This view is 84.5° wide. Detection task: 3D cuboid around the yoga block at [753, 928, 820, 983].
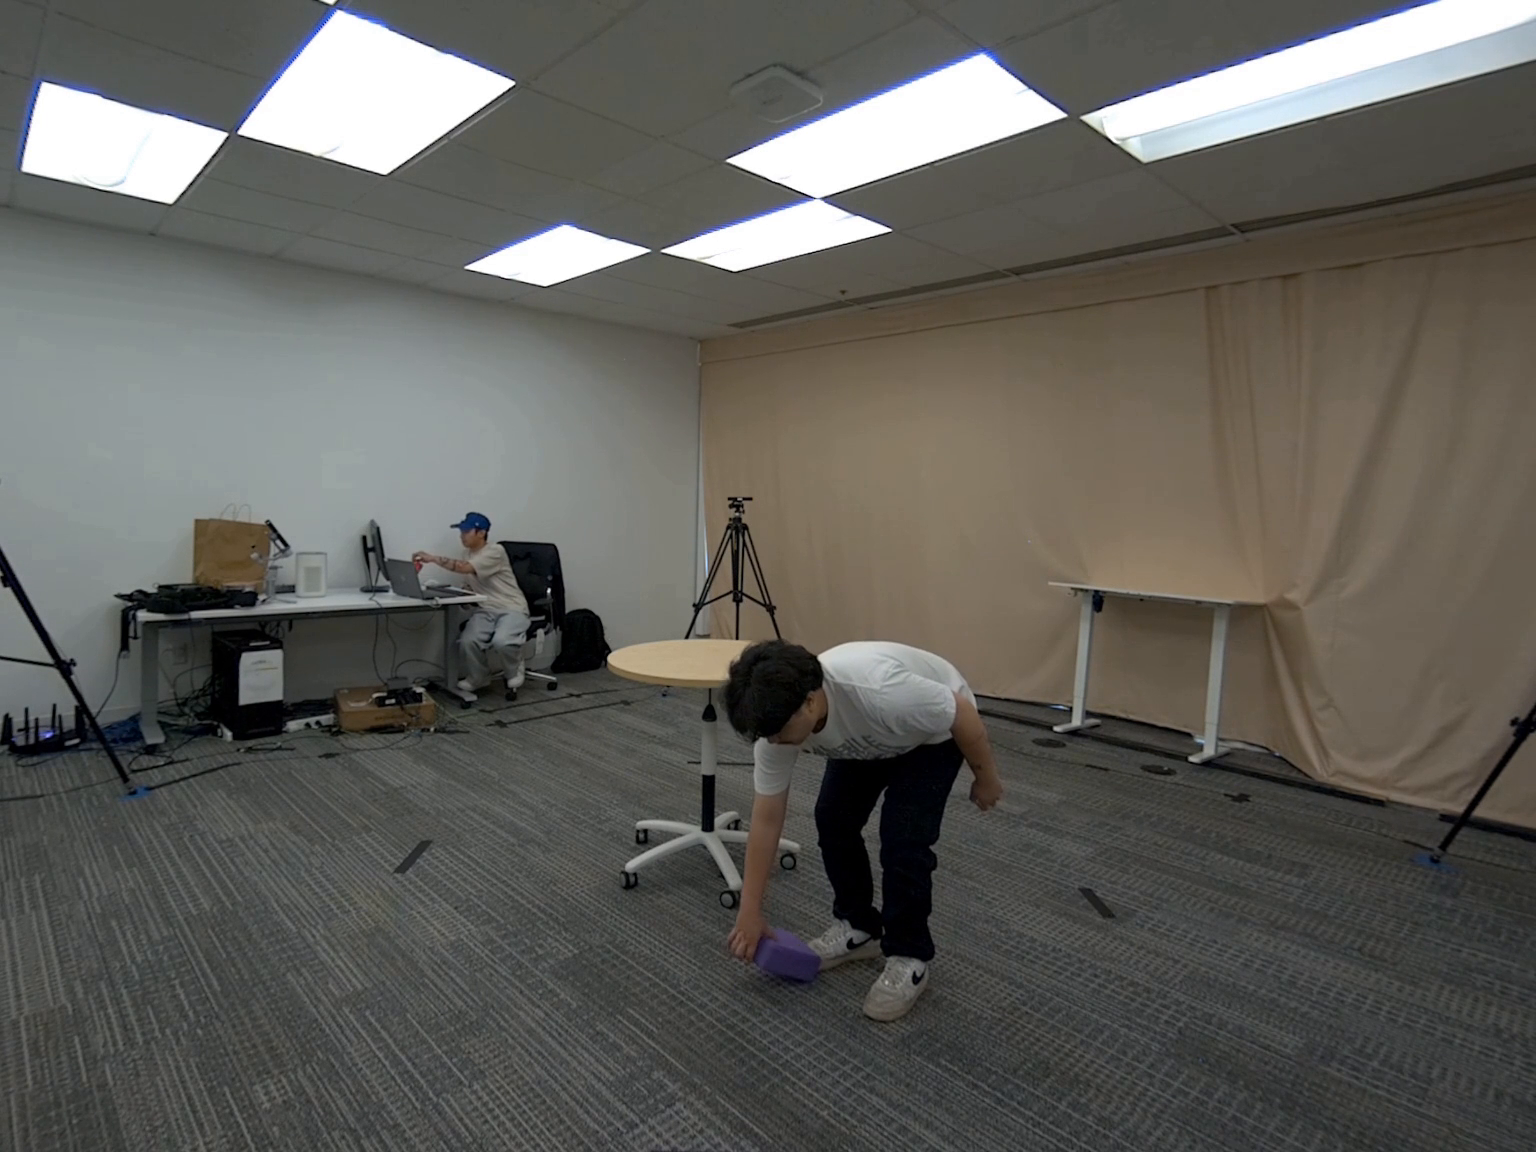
[{"bbox_3d":[0.030,1.079,2.434,0.153,0.076,0.222,20,-11,48],"label":"yoga block"}]
